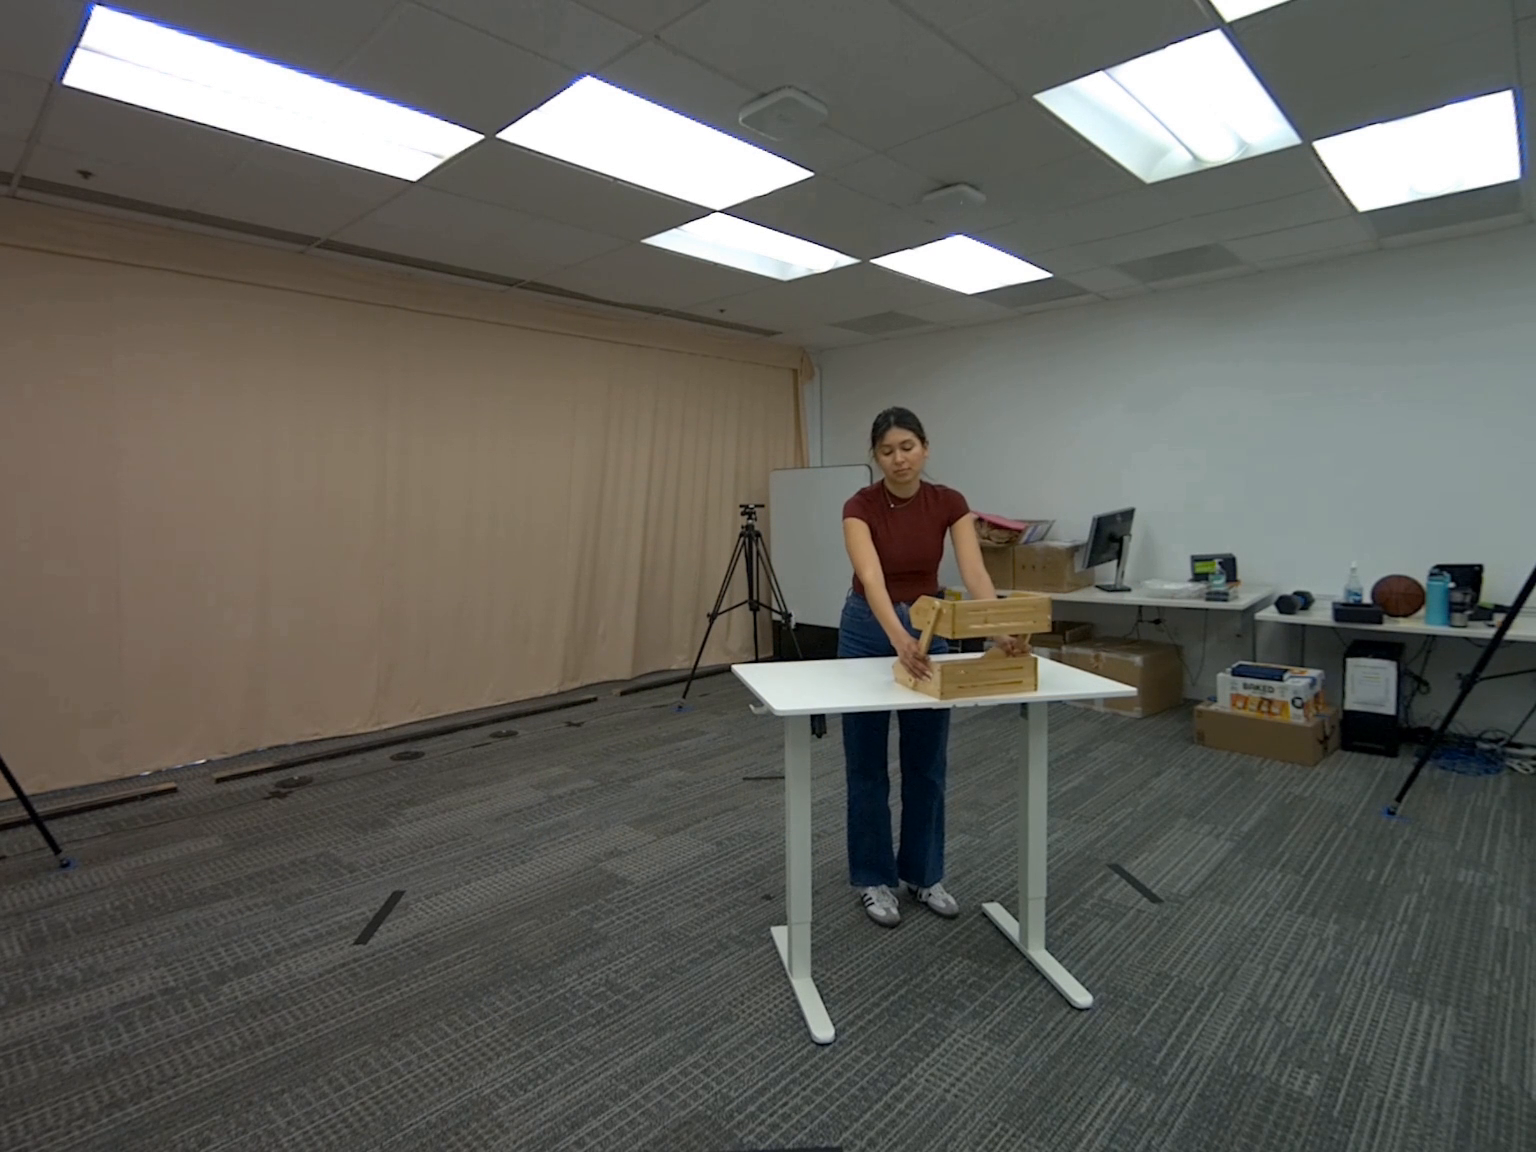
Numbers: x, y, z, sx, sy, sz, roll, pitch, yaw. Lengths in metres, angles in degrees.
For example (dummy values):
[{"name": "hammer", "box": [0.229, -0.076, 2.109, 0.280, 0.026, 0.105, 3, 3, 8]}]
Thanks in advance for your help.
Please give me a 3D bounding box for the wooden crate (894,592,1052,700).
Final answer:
[{"name": "wooden crate", "box": [0.548, 0.177, 2.307, 0.318, 0.272, 0.308, -2, 5, -19]}]
